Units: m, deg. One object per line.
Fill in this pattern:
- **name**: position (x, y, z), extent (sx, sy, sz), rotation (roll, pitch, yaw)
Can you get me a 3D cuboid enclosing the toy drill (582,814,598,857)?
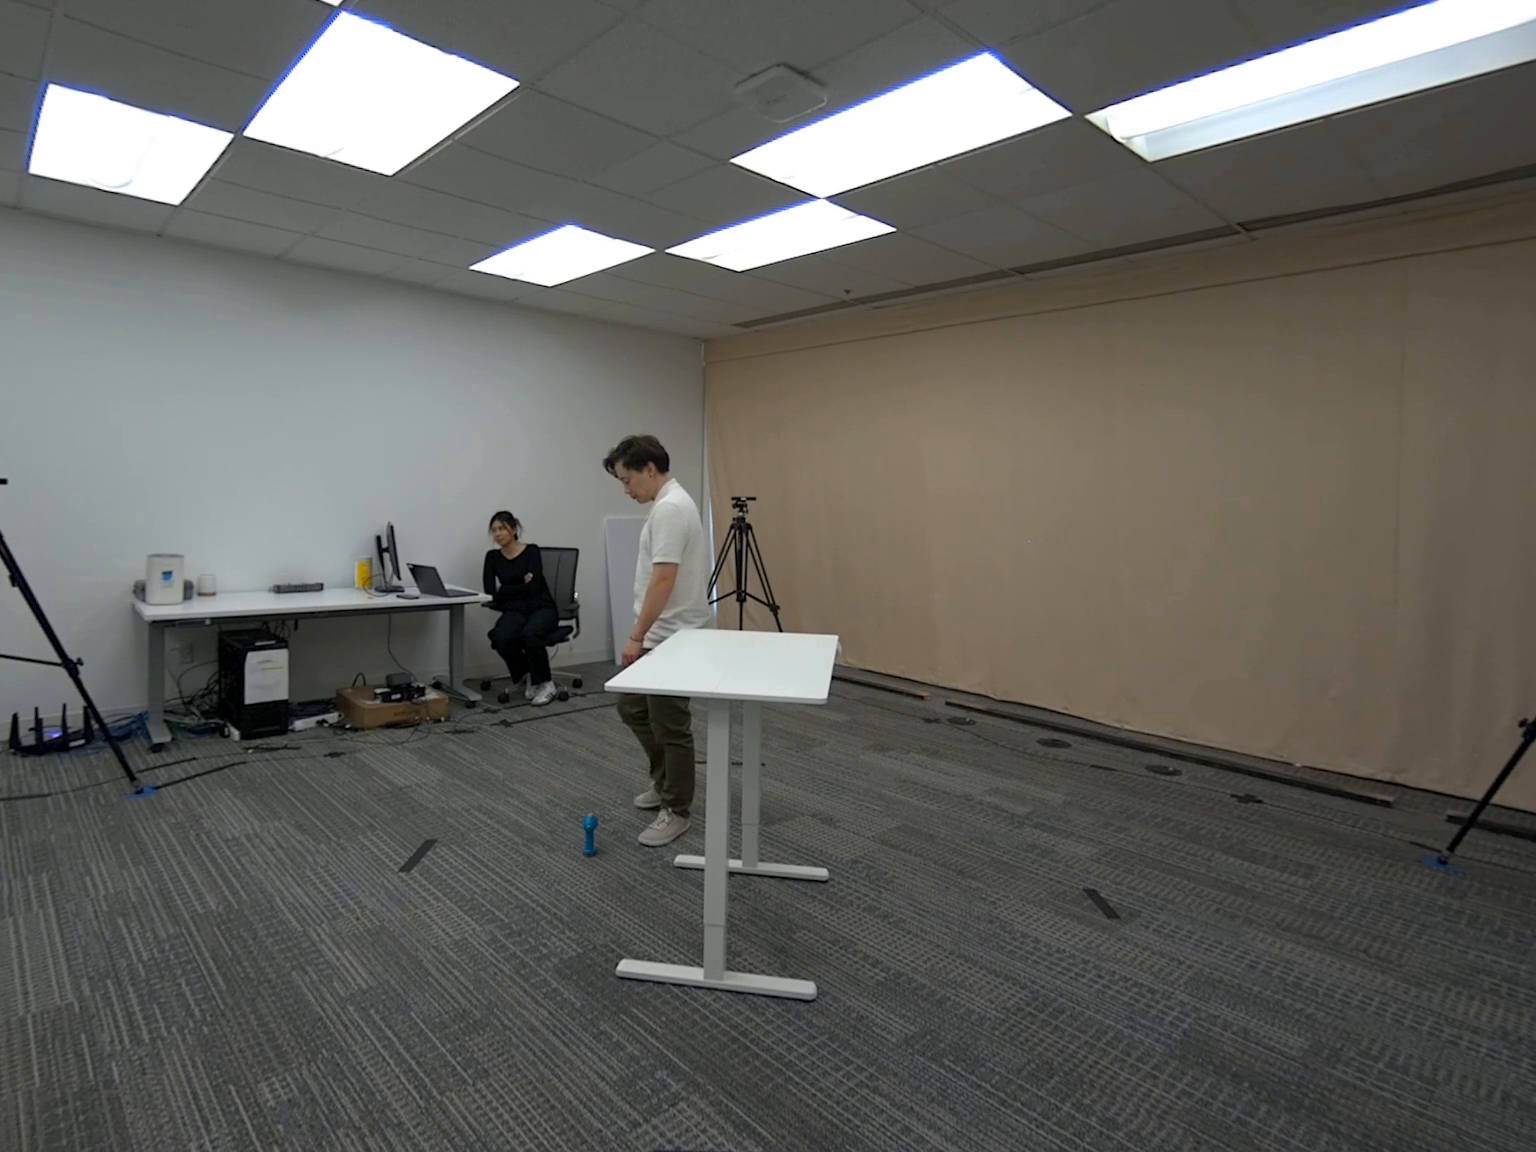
- **toy drill**: position (-0.706, 1.006, 3.305), extent (0.061, 0.145, 0.171), rotation (4, 5, -6)
